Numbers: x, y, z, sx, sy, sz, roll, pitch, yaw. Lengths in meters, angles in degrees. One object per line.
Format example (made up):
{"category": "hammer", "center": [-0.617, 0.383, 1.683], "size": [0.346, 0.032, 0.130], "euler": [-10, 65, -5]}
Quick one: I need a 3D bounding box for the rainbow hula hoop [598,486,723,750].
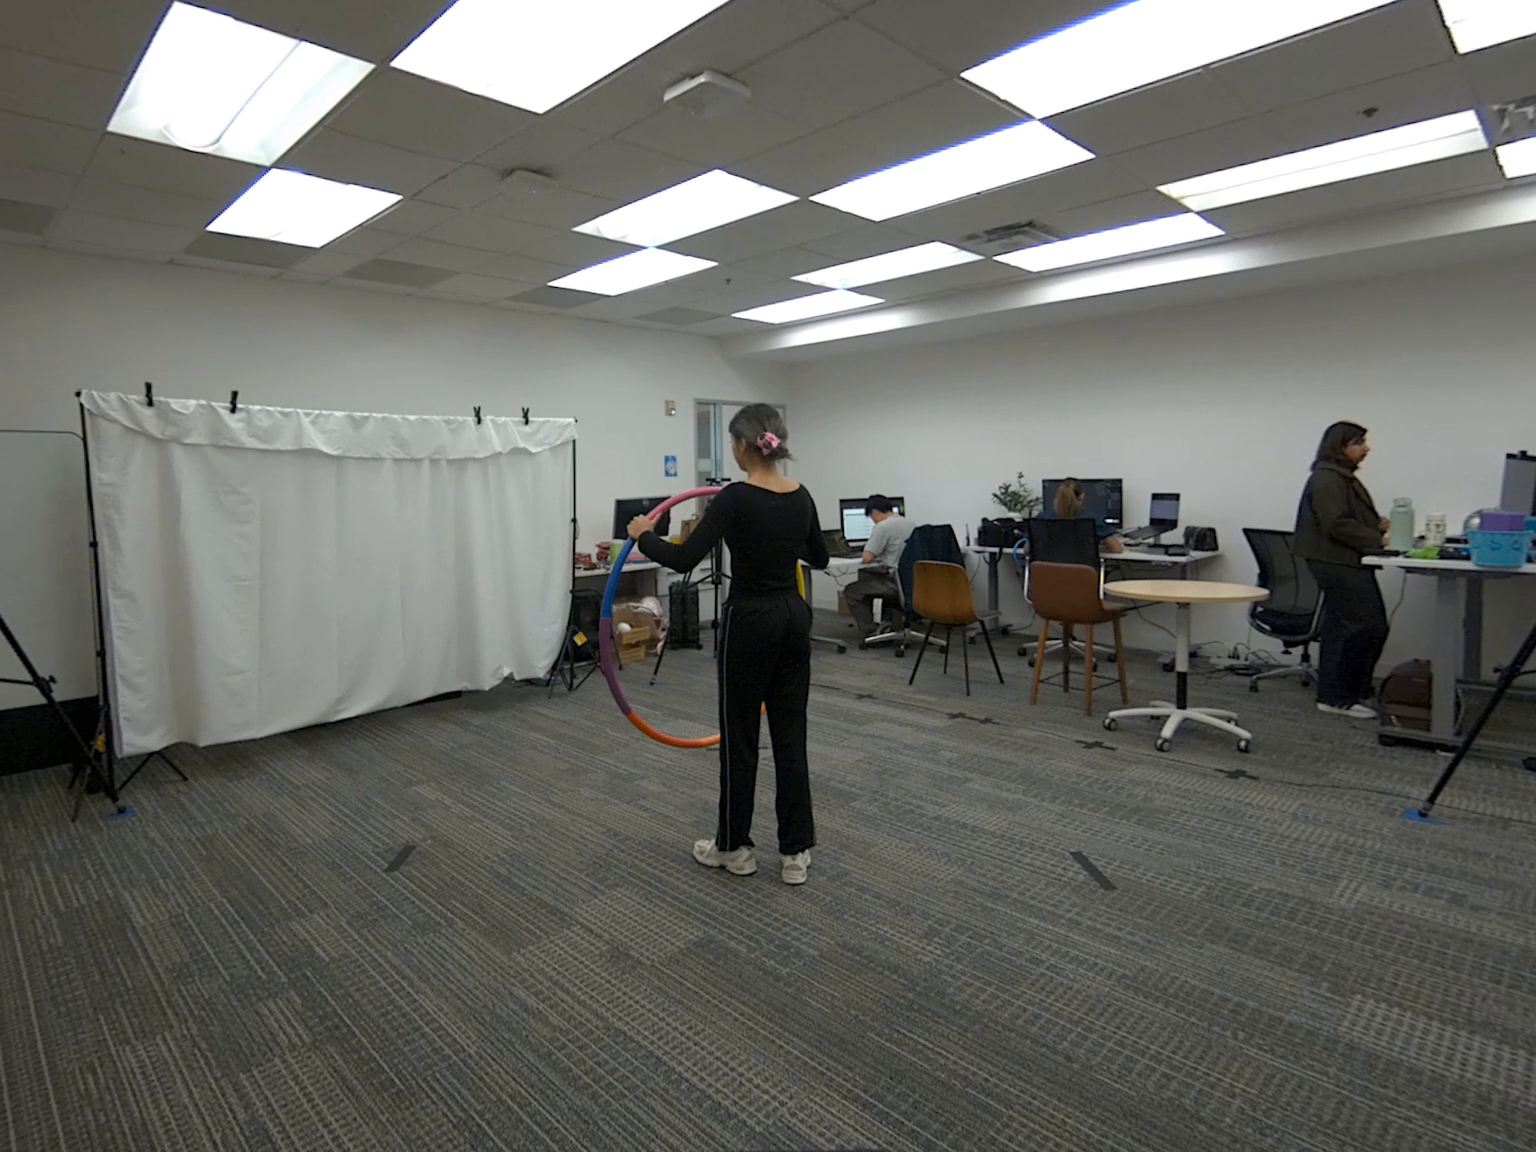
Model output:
{"category": "rainbow hula hoop", "center": [-0.206, 0.155, 3.254], "size": [0.953, 0.974, 0.036], "euler": [-5, 7, -38]}
